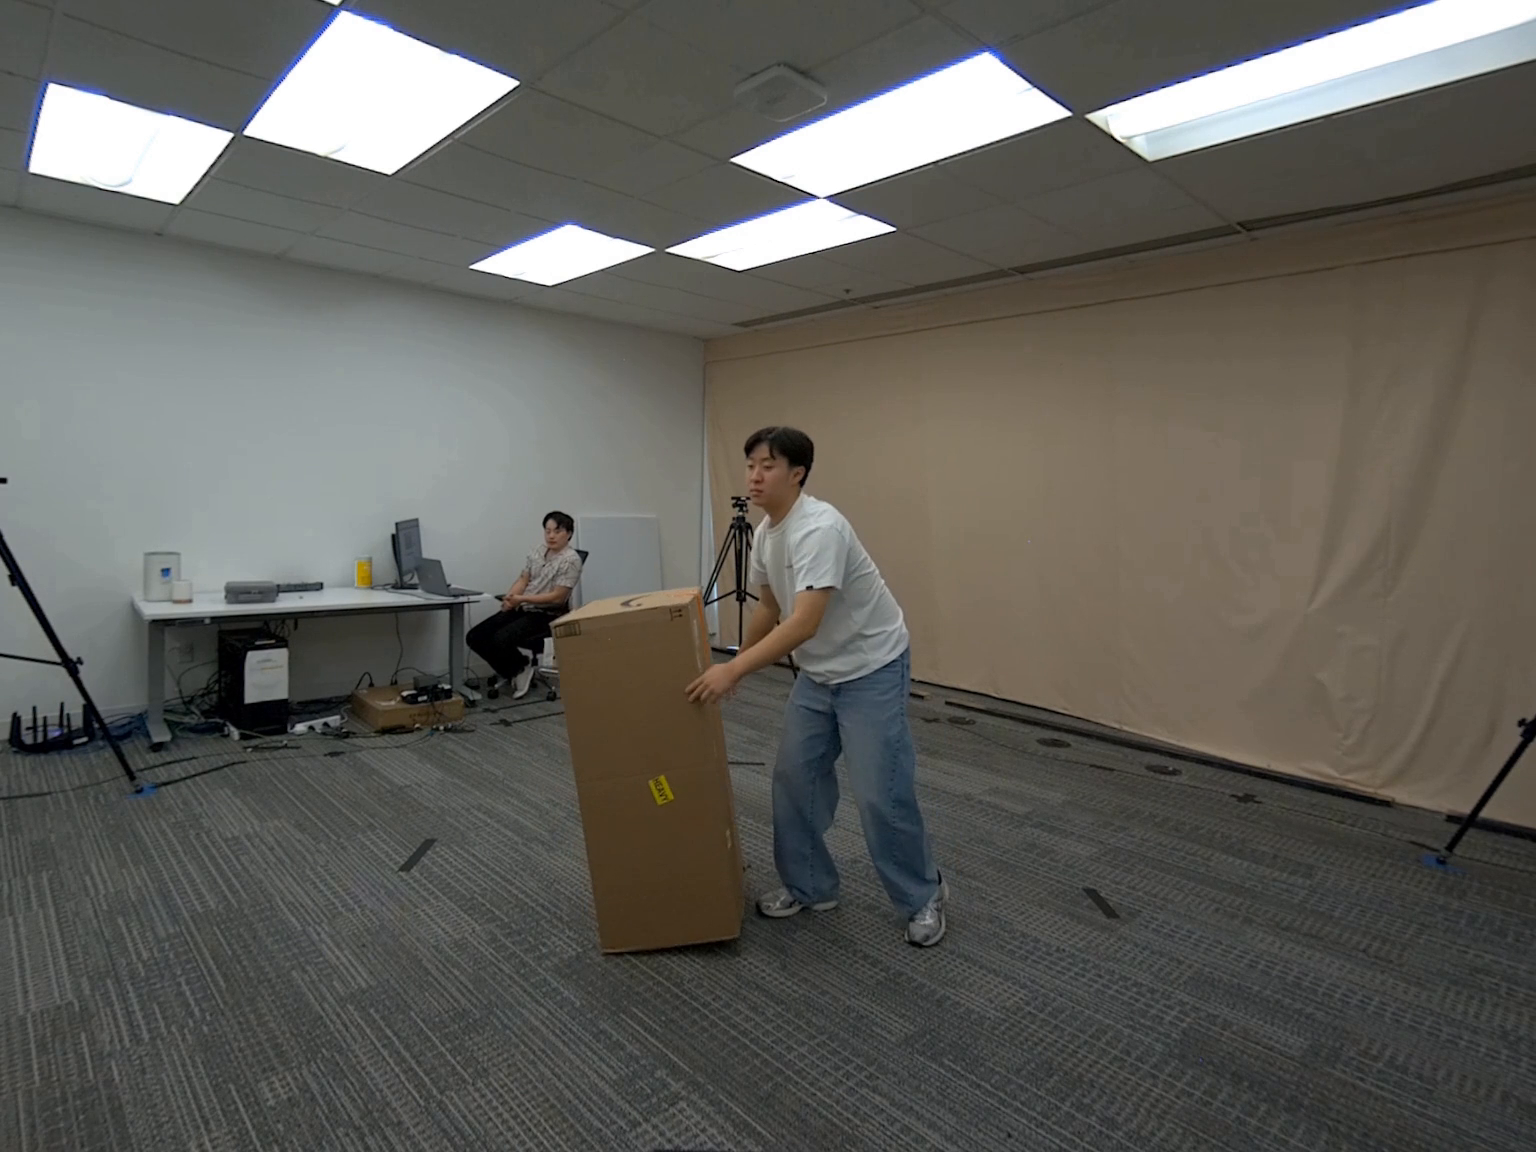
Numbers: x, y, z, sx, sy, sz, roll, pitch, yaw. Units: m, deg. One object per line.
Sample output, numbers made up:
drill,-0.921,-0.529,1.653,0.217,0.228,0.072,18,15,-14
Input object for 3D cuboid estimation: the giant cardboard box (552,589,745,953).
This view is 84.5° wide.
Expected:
giant cardboard box,-0.374,0.595,2.803,0.427,1.024,0.577,-8,2,2
